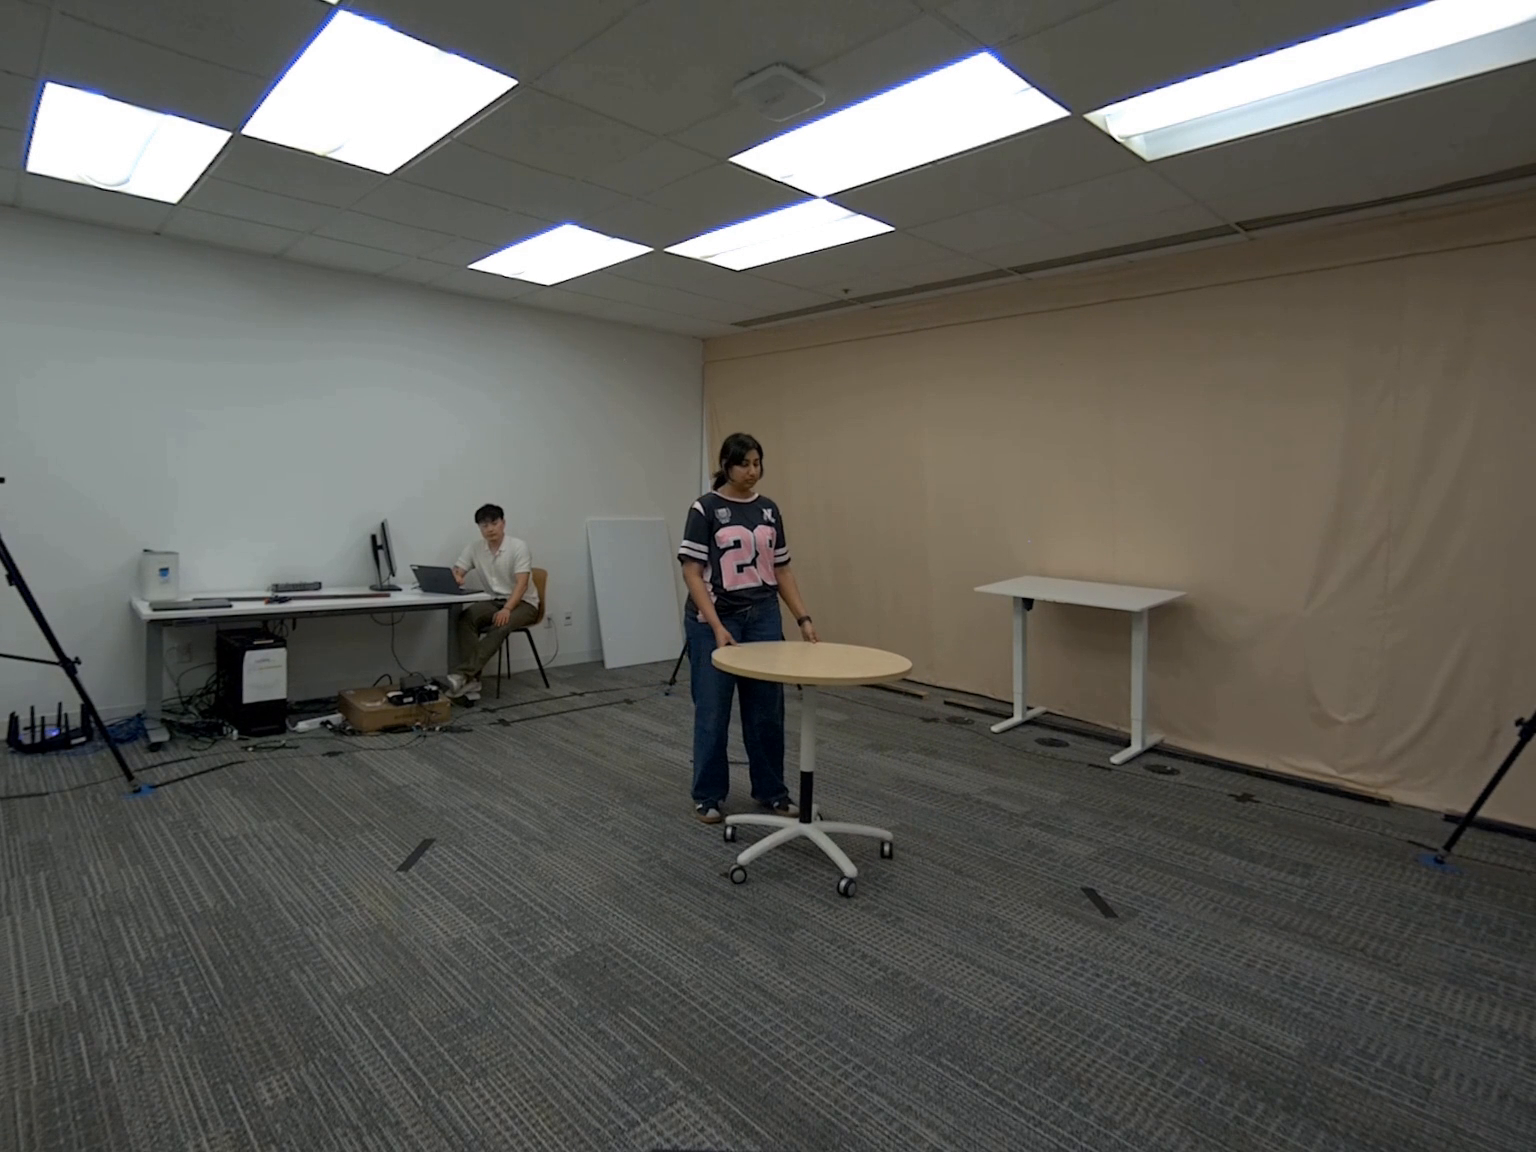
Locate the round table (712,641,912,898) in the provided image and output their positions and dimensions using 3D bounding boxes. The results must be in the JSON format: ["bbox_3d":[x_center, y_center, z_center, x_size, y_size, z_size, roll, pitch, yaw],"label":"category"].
[{"bbox_3d":[0.142,0.707,3.258,0.763,0.792,0.766,2,3,-1],"label":"round table"}]
